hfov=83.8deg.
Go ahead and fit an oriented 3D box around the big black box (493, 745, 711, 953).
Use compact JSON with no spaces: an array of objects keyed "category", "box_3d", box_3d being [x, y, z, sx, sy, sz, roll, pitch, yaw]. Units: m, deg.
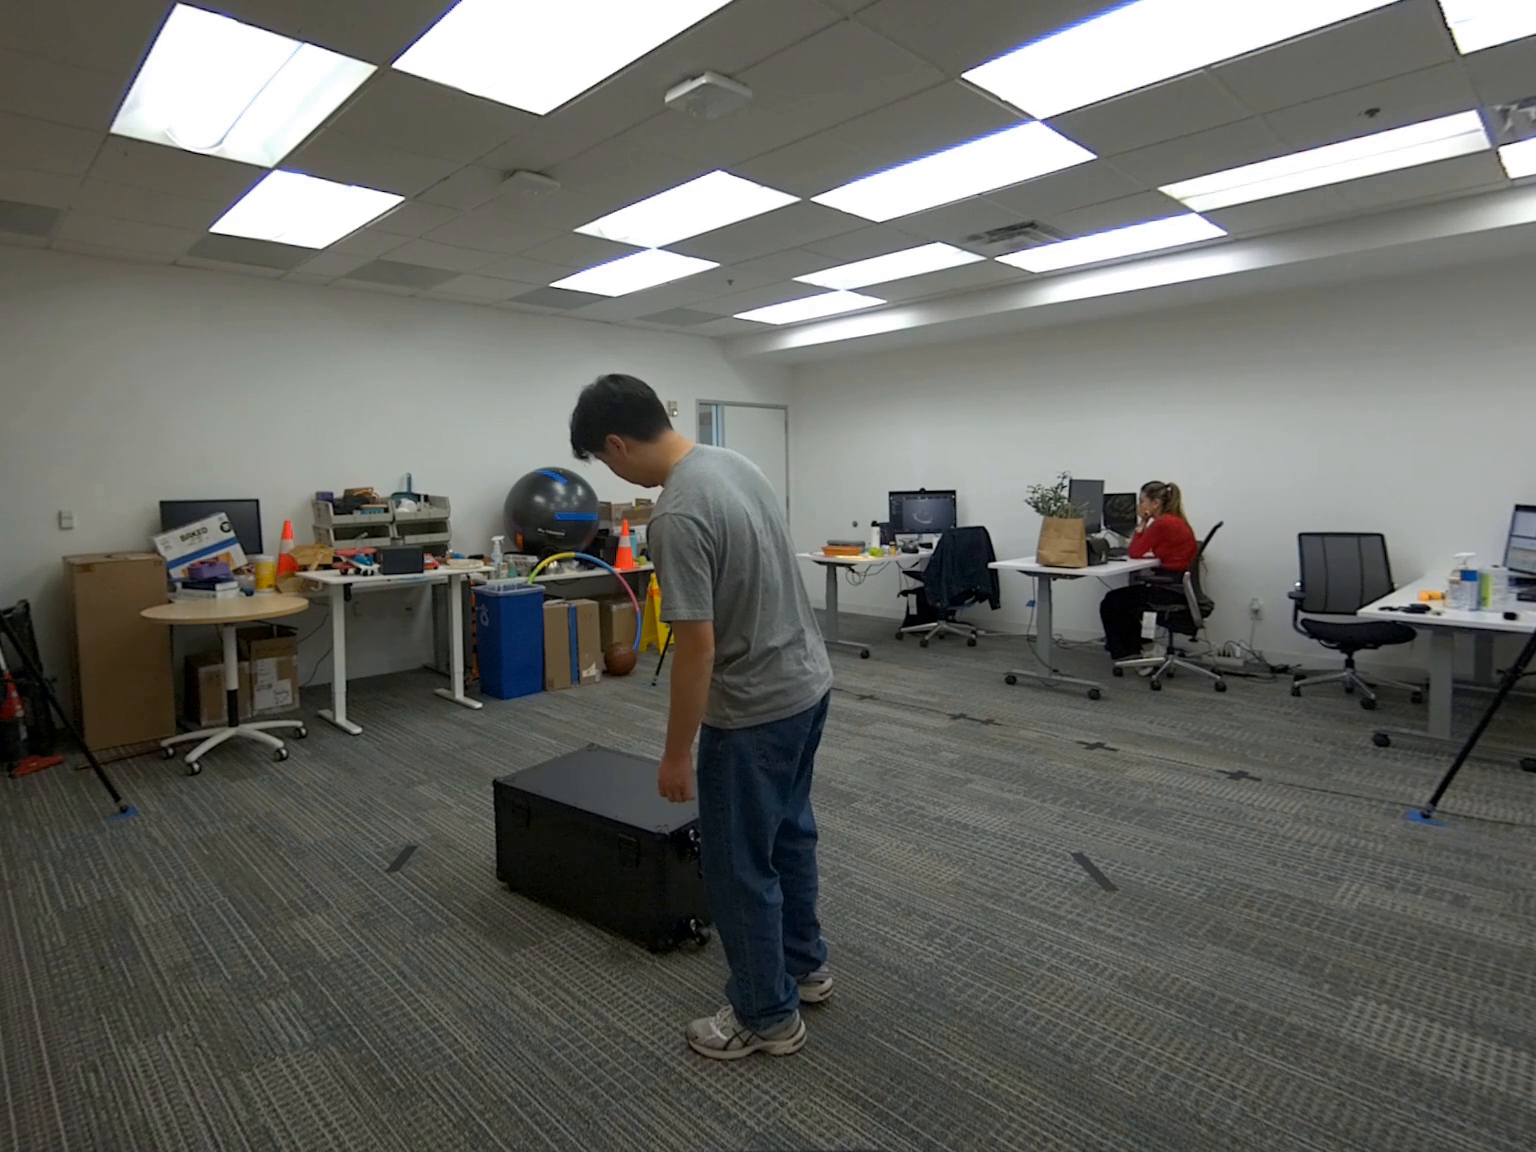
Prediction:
[{"category":"big black box","box_3d":[-0.458,0.888,2.887,0.887,0.394,0.508,4,7,36]}]
